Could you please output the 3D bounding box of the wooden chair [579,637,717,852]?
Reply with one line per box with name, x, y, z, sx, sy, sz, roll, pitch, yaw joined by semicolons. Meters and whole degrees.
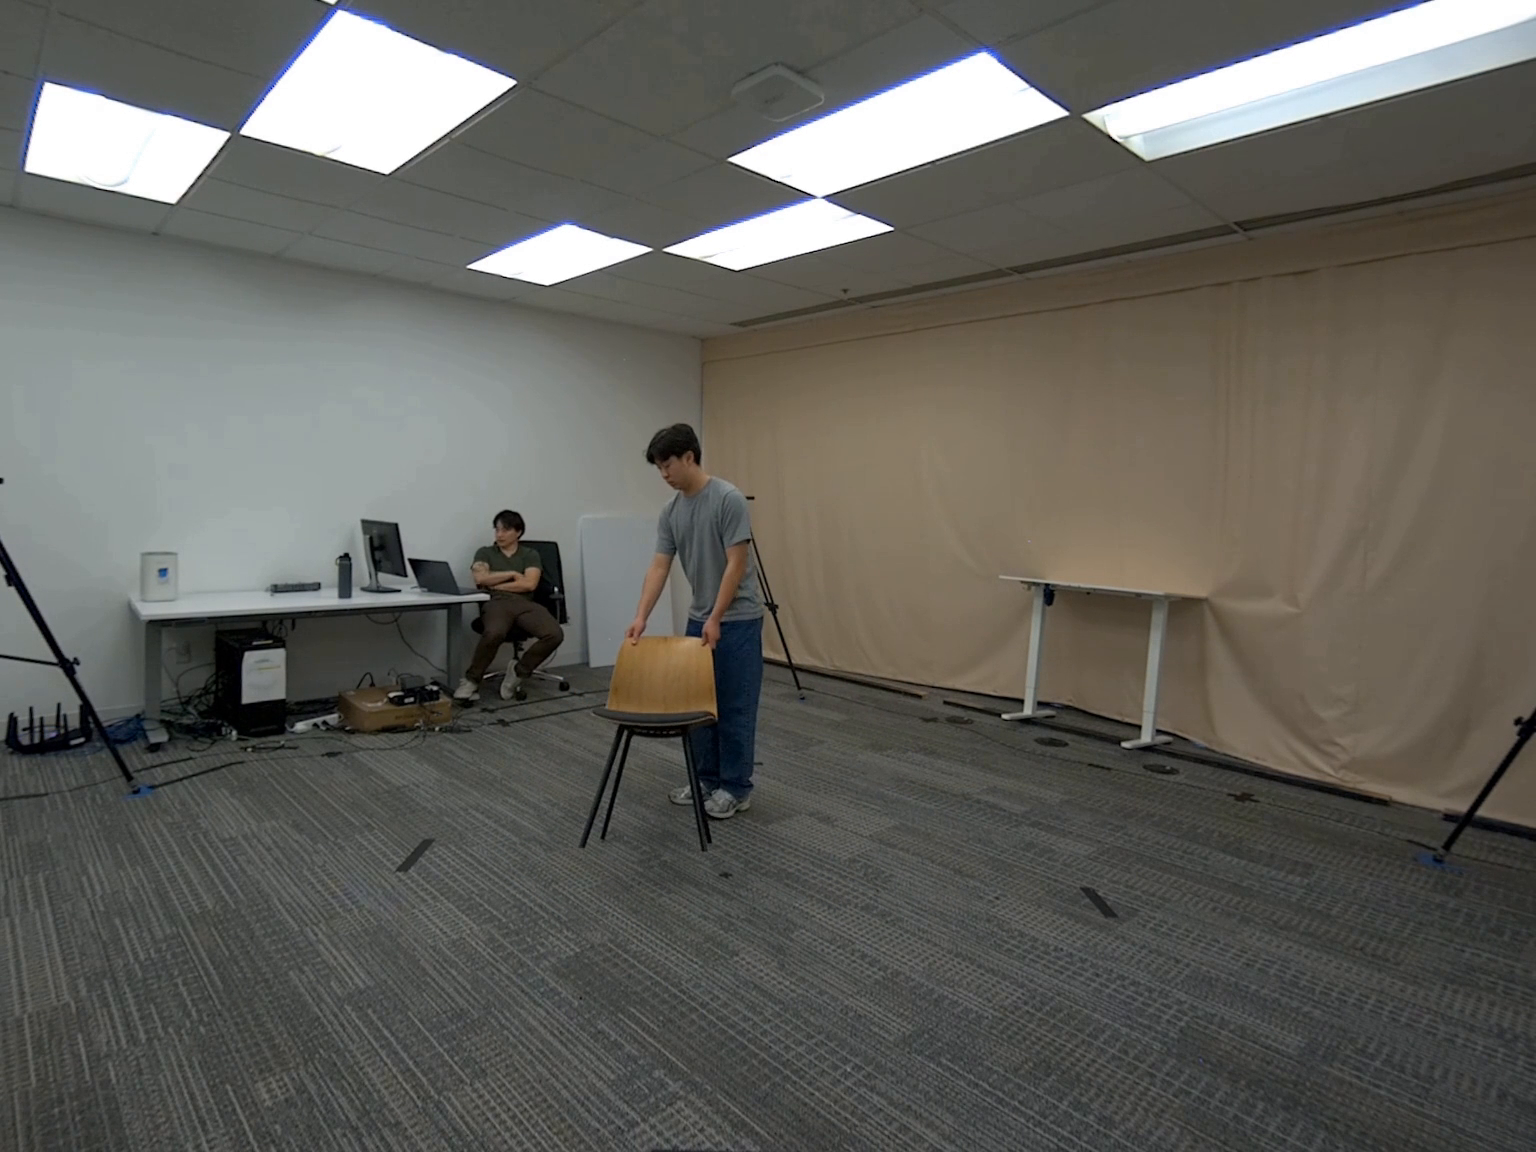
wooden chair;-0.443;0.604;3.270;0.479;0.889;0.515;2;-19;1
